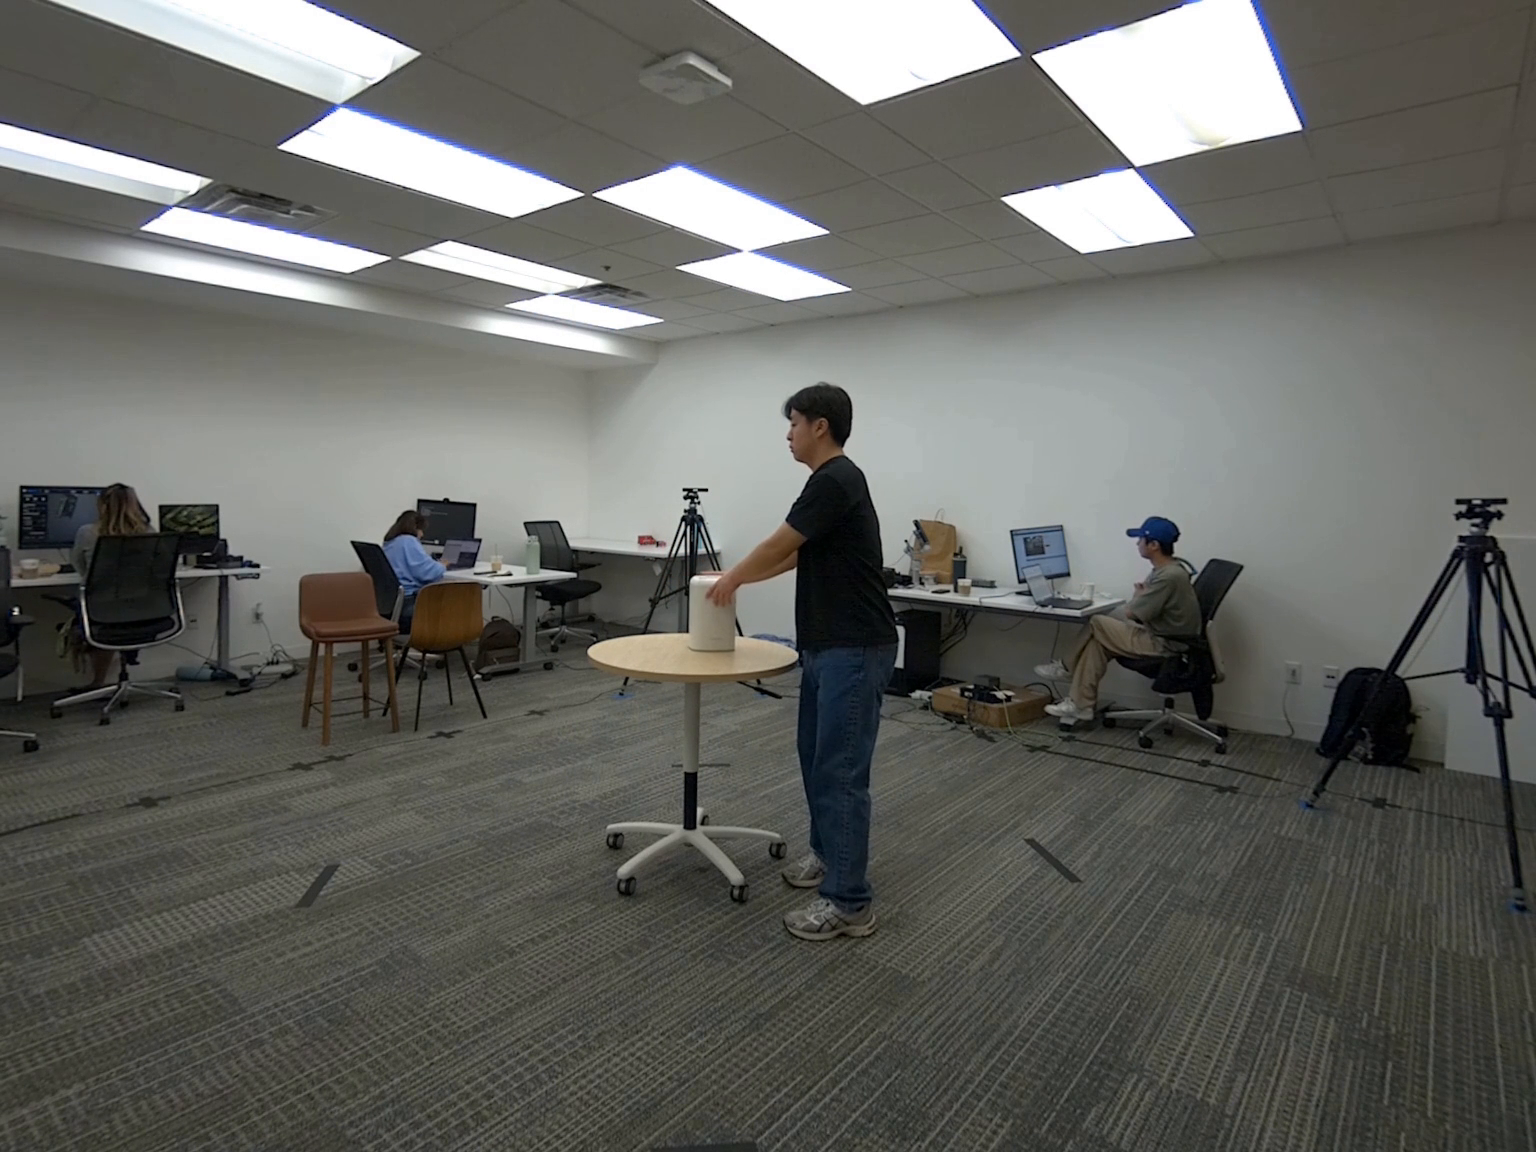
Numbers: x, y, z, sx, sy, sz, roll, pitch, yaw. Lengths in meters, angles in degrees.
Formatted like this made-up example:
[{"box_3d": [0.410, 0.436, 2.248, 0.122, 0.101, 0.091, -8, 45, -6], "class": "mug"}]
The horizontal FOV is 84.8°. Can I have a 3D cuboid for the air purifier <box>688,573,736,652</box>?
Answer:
[{"box_3d": [-0.219, 0.133, 3.187, 0.170, 0.265, 0.172, 3, 2, -4], "class": "air purifier"}]
